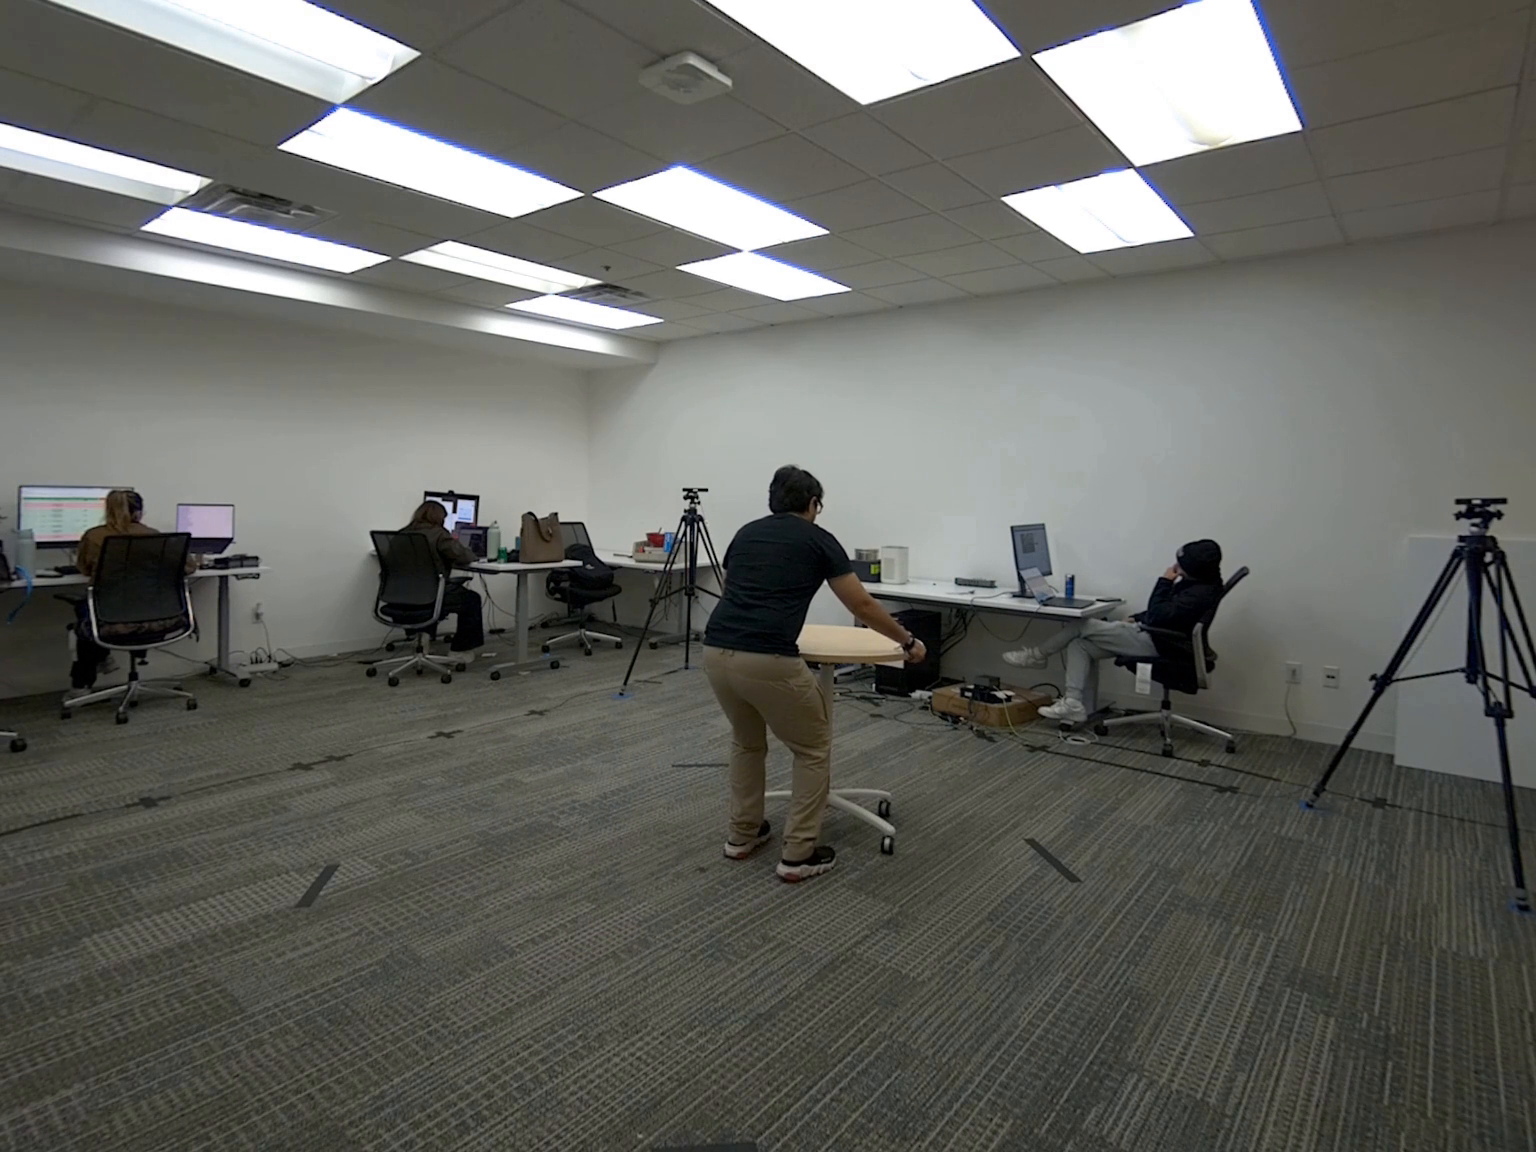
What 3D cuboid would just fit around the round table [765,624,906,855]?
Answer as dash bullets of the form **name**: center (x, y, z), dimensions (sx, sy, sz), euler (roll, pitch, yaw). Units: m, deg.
- **round table**: center (0.216, 0.640, 3.539), dimensions (0.784, 0.784, 0.788), euler (2, 3, -2)
